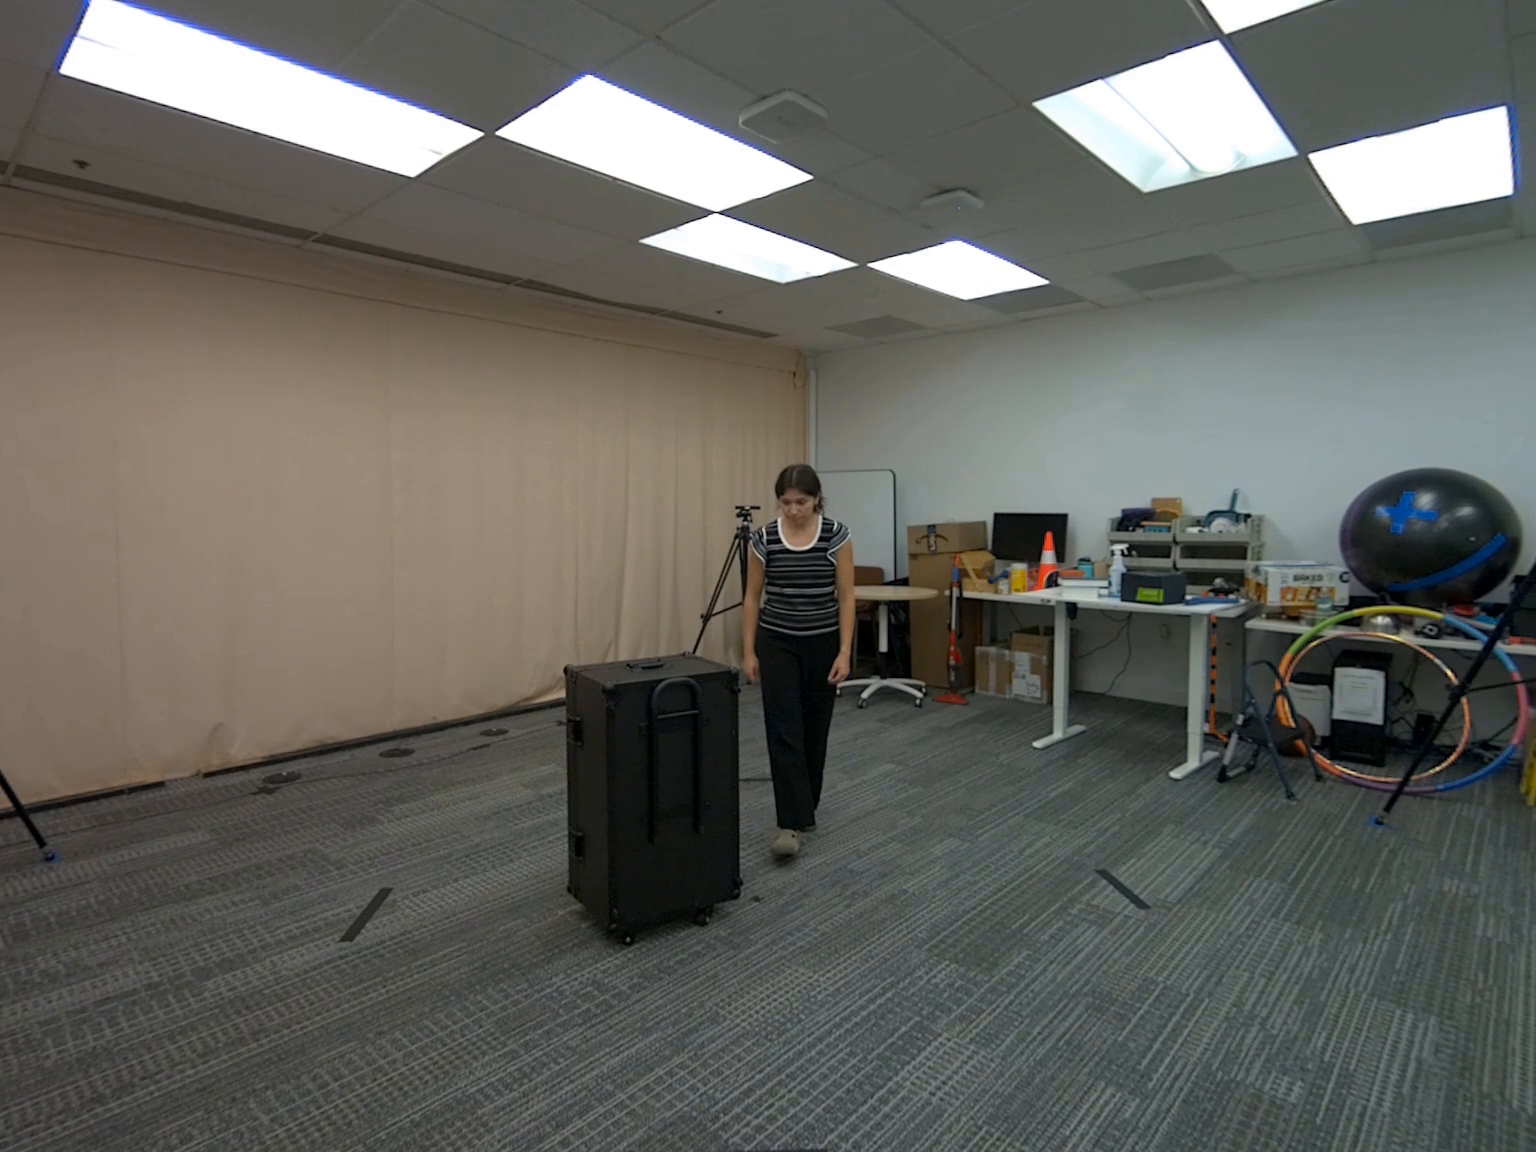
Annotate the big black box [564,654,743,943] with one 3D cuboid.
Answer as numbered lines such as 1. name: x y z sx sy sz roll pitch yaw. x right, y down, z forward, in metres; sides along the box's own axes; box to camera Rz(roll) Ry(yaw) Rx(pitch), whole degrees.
1. big black box: -0.380 0.732 2.843 0.507 0.859 0.408 -2 5 -32
